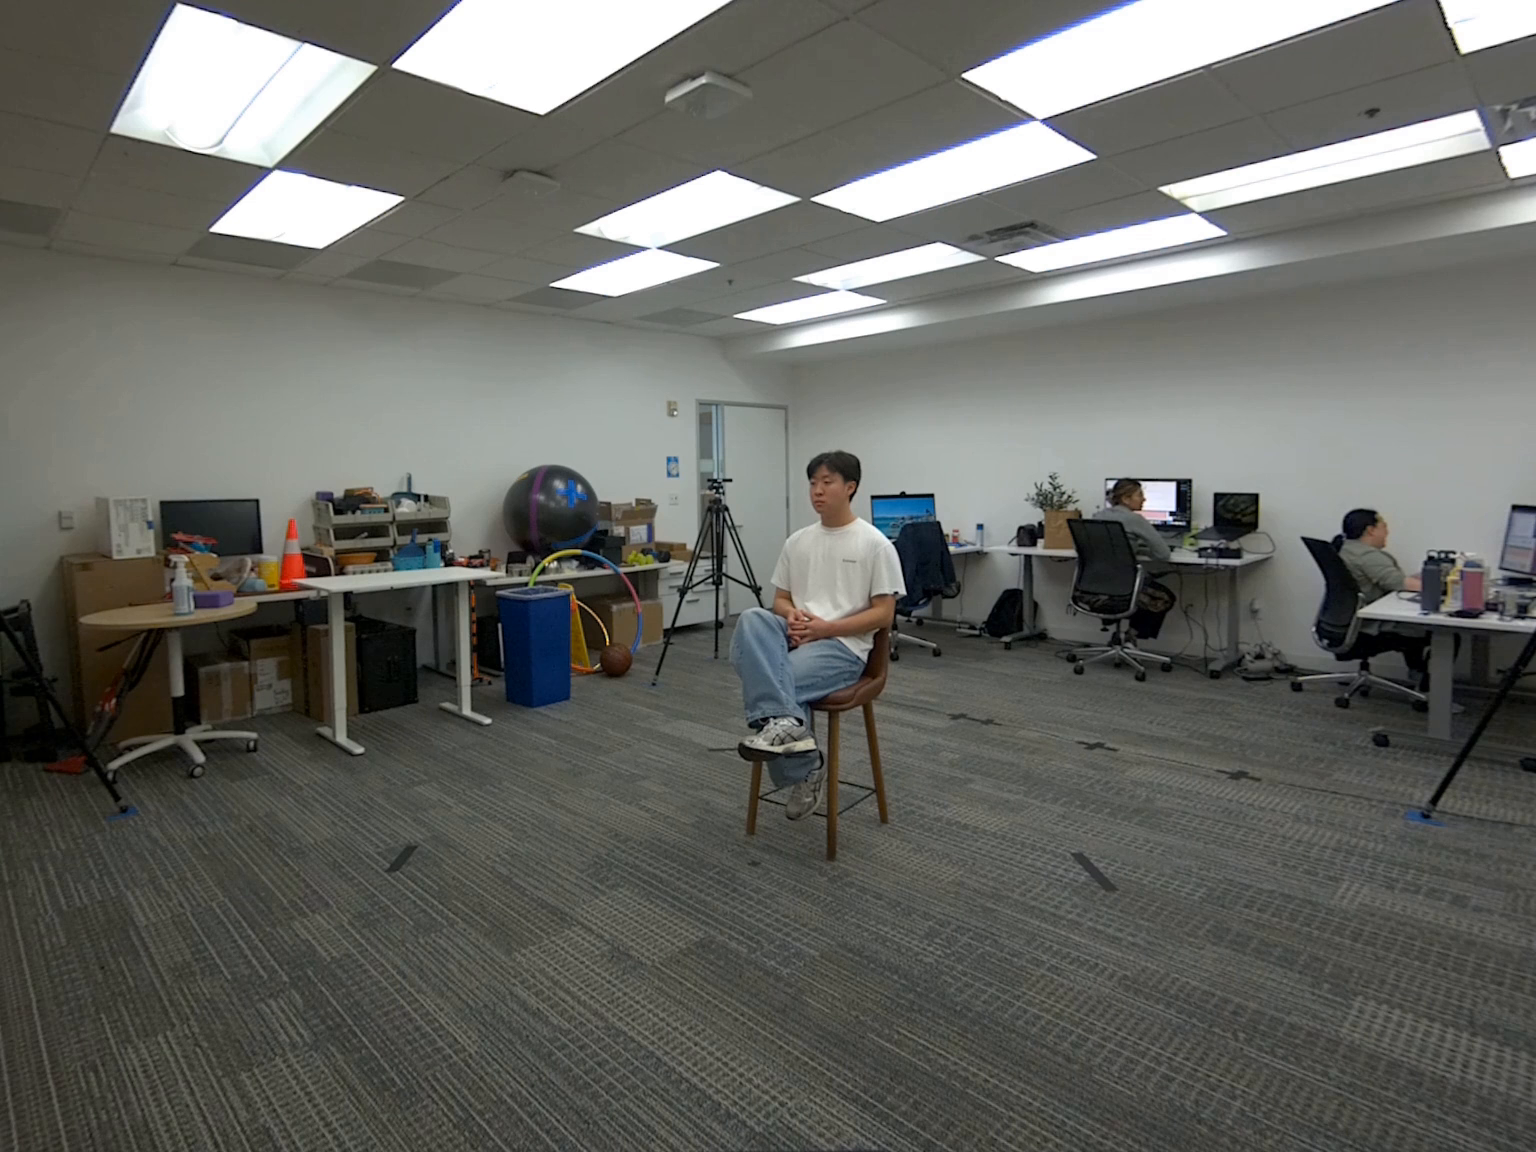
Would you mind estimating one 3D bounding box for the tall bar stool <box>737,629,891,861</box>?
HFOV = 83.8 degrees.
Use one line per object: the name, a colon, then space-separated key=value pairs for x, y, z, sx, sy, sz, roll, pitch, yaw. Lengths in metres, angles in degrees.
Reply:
tall bar stool: x=0.215 y=0.577 z=3.391 sx=0.470 sy=0.888 sz=0.455 roll=4 pitch=4 yaw=38
